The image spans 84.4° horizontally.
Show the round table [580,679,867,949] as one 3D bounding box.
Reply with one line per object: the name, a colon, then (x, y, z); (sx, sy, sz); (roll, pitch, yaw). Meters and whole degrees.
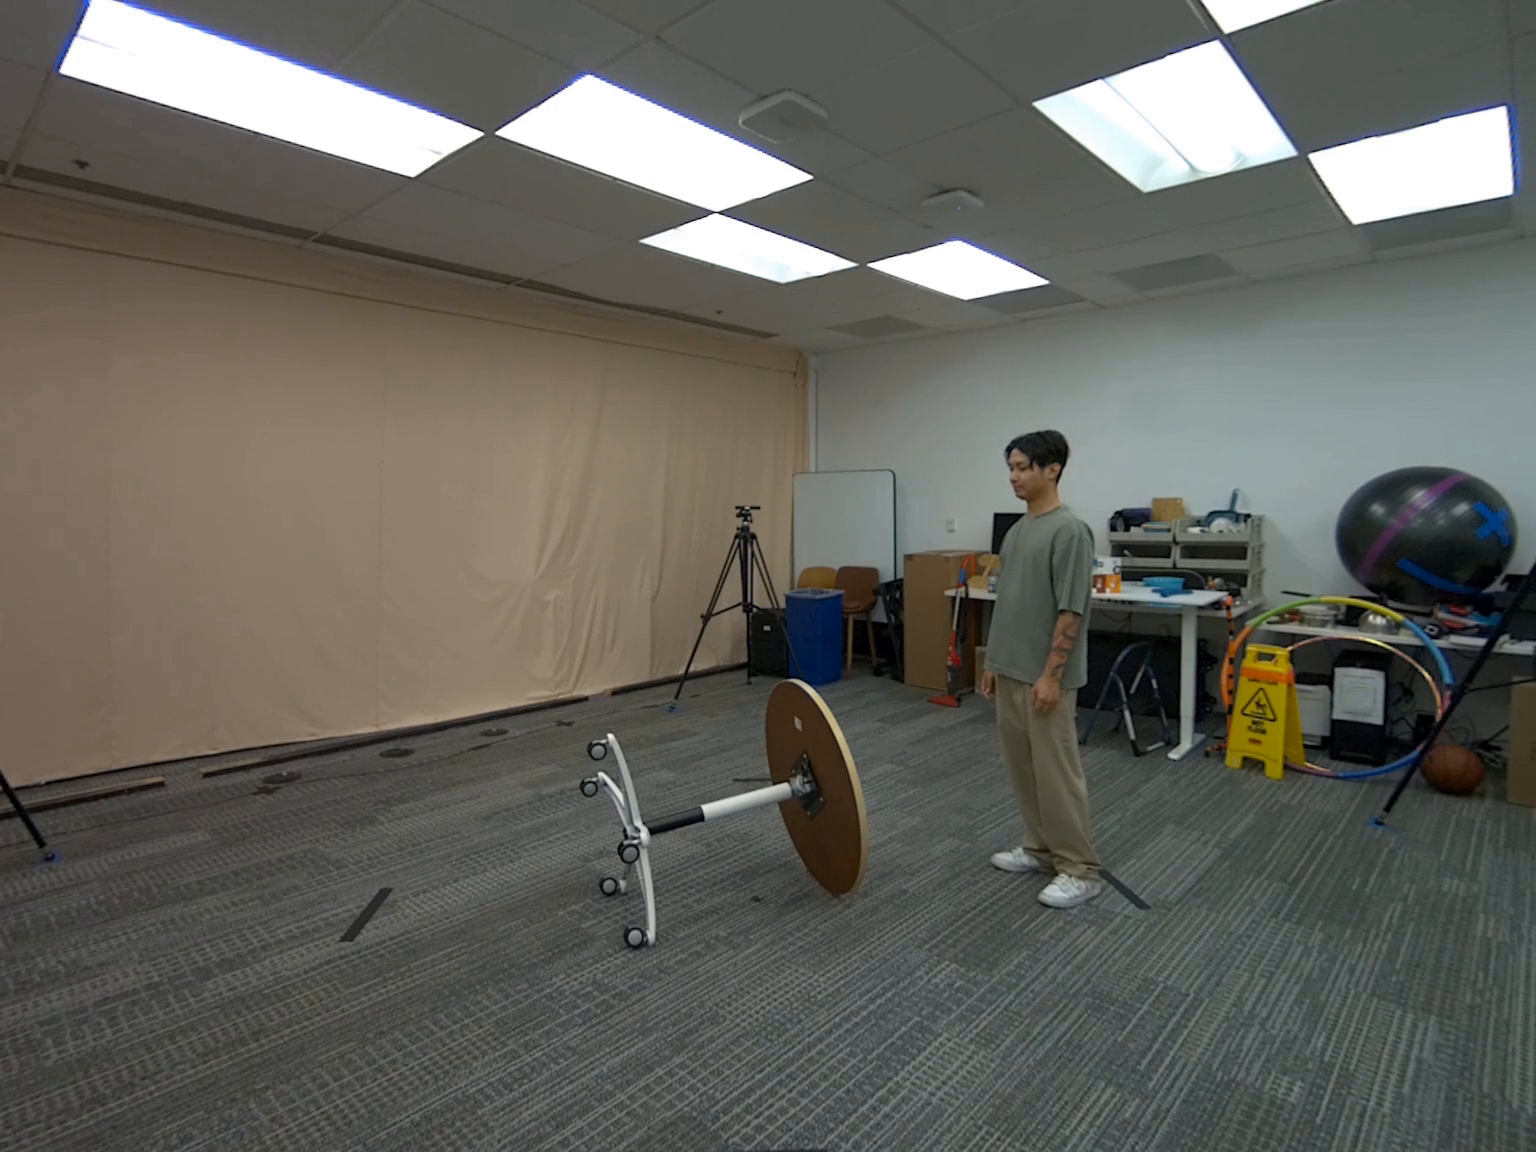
round table: (-0.193, 0.817, 2.943); (0.772, 0.782, 0.803); (-9, 6, -20)
